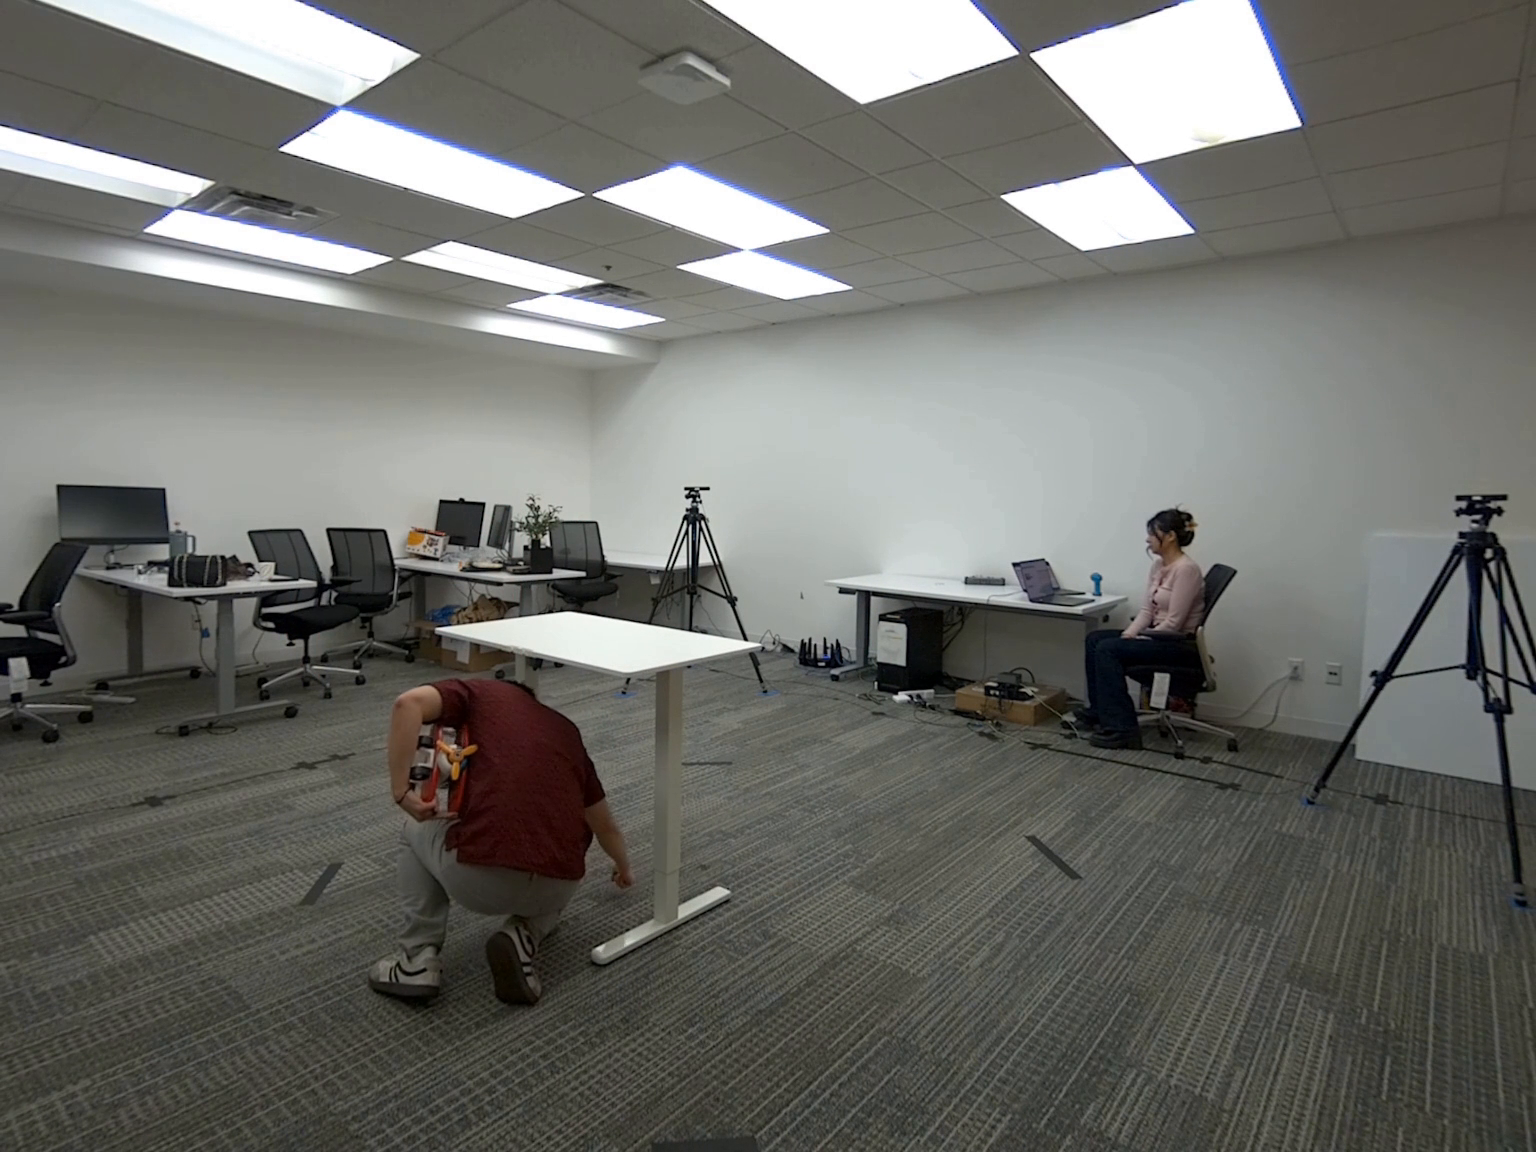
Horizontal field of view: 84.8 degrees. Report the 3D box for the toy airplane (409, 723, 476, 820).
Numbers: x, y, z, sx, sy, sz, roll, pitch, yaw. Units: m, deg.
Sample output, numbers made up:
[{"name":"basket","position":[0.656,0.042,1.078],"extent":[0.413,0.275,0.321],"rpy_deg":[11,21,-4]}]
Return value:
[{"name":"toy airplane","position":[-0.937,0.528,2.392],"extent":[0.153,0.253,0.264],"rpy_deg":[13,-9,-21]}]
